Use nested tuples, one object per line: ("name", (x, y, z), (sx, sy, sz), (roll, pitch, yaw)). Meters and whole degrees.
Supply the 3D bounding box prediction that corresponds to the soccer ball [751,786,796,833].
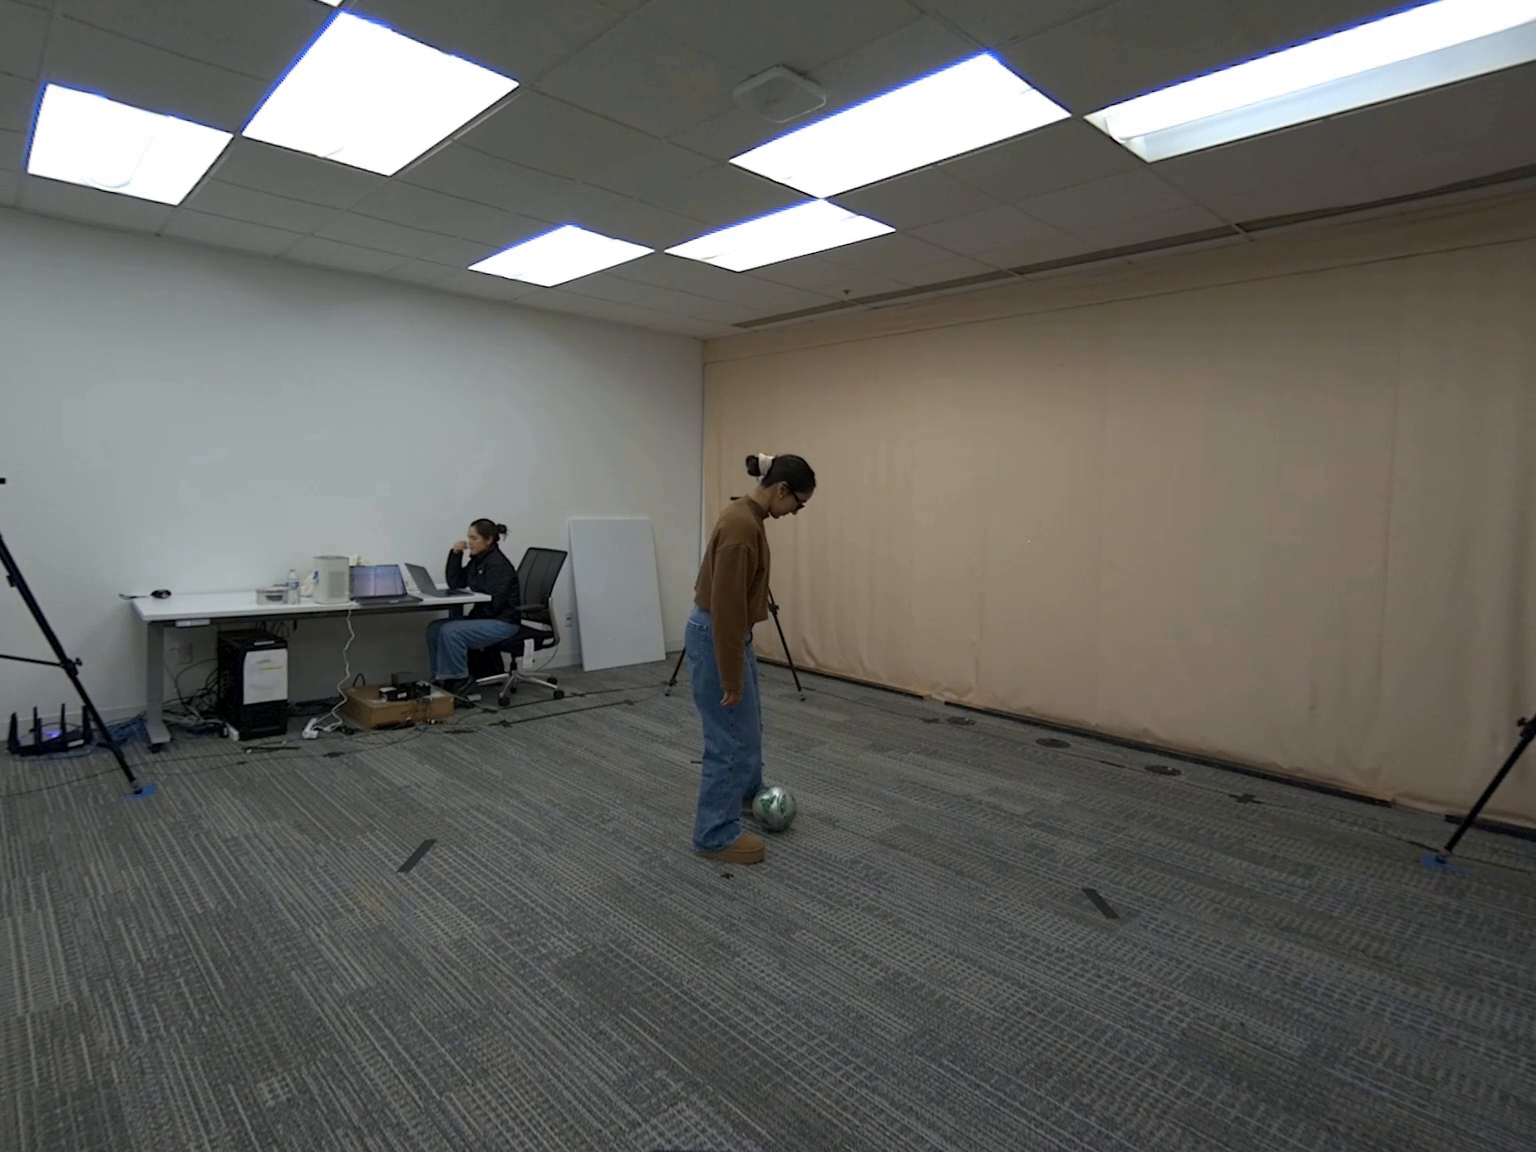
("soccer ball", (0.017, 0.980, 3.539), (0.187, 0.187, 0.188), (1, 4, -1))
